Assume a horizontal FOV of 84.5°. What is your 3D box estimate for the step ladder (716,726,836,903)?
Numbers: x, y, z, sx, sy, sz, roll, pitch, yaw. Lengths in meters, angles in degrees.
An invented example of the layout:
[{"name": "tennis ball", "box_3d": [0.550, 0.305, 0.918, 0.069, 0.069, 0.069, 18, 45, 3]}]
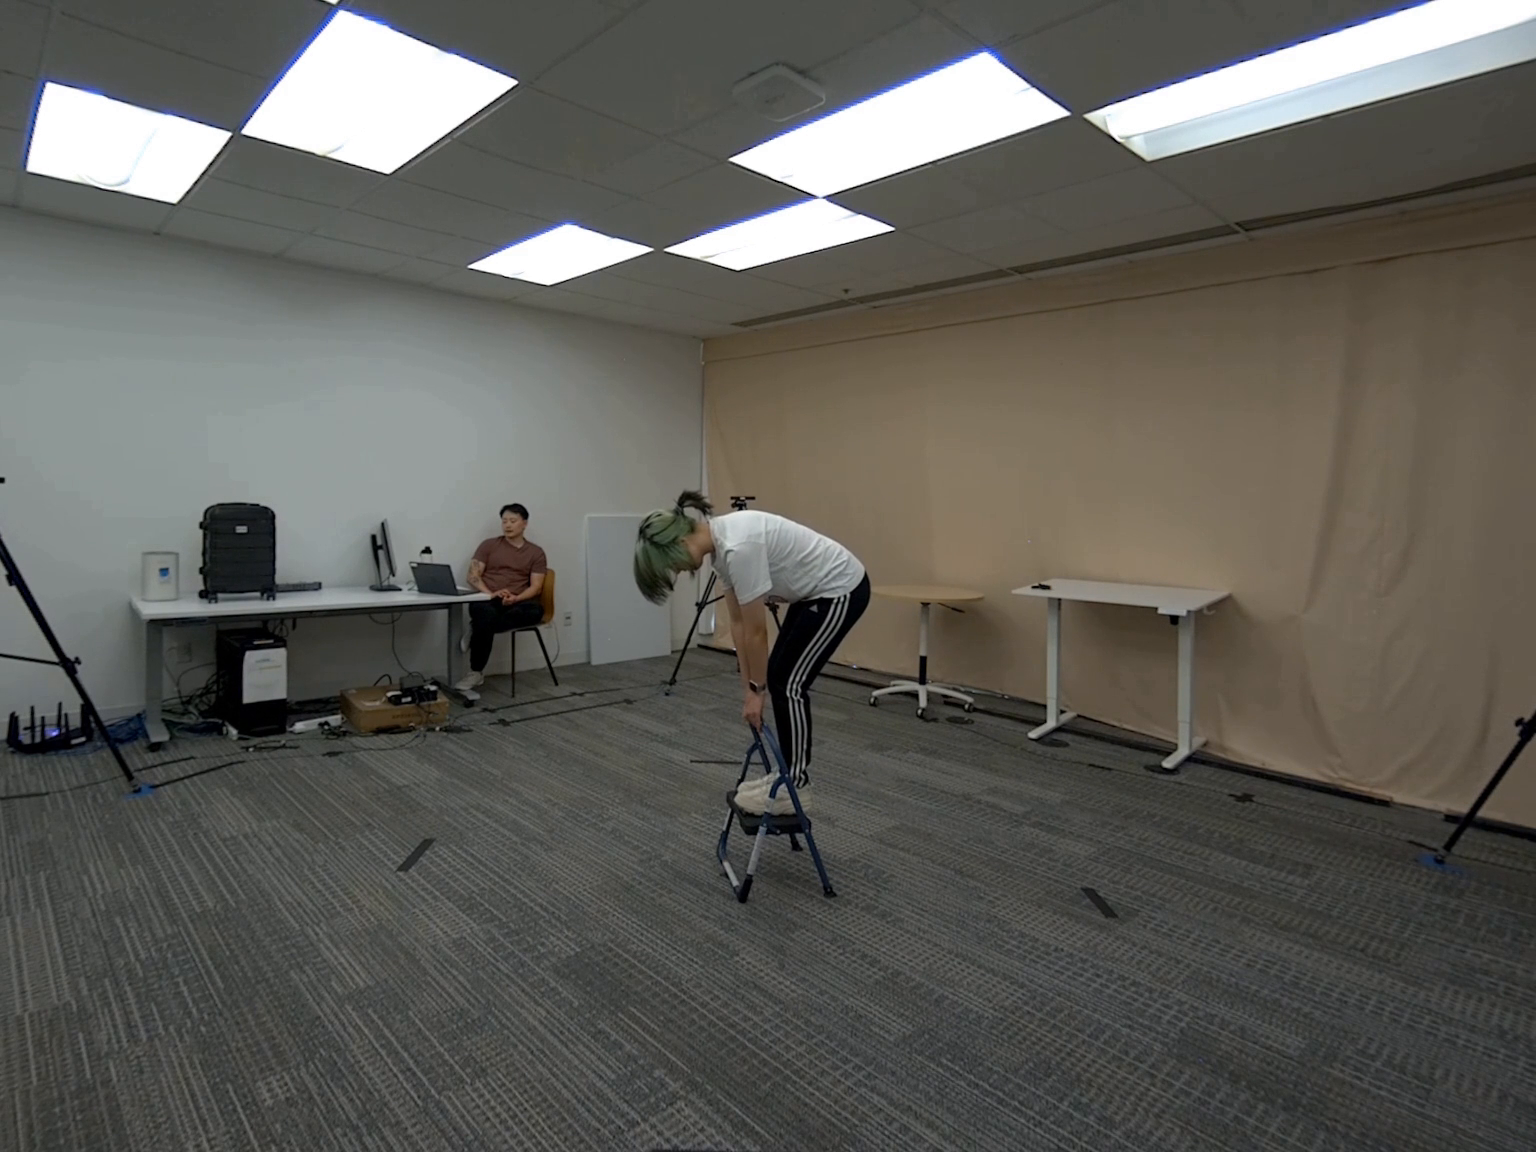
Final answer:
[{"name": "step ladder", "box_3d": [0.016, 0.811, 3.106, 0.345, 0.604, 0.436, 0, 4, -15]}]
